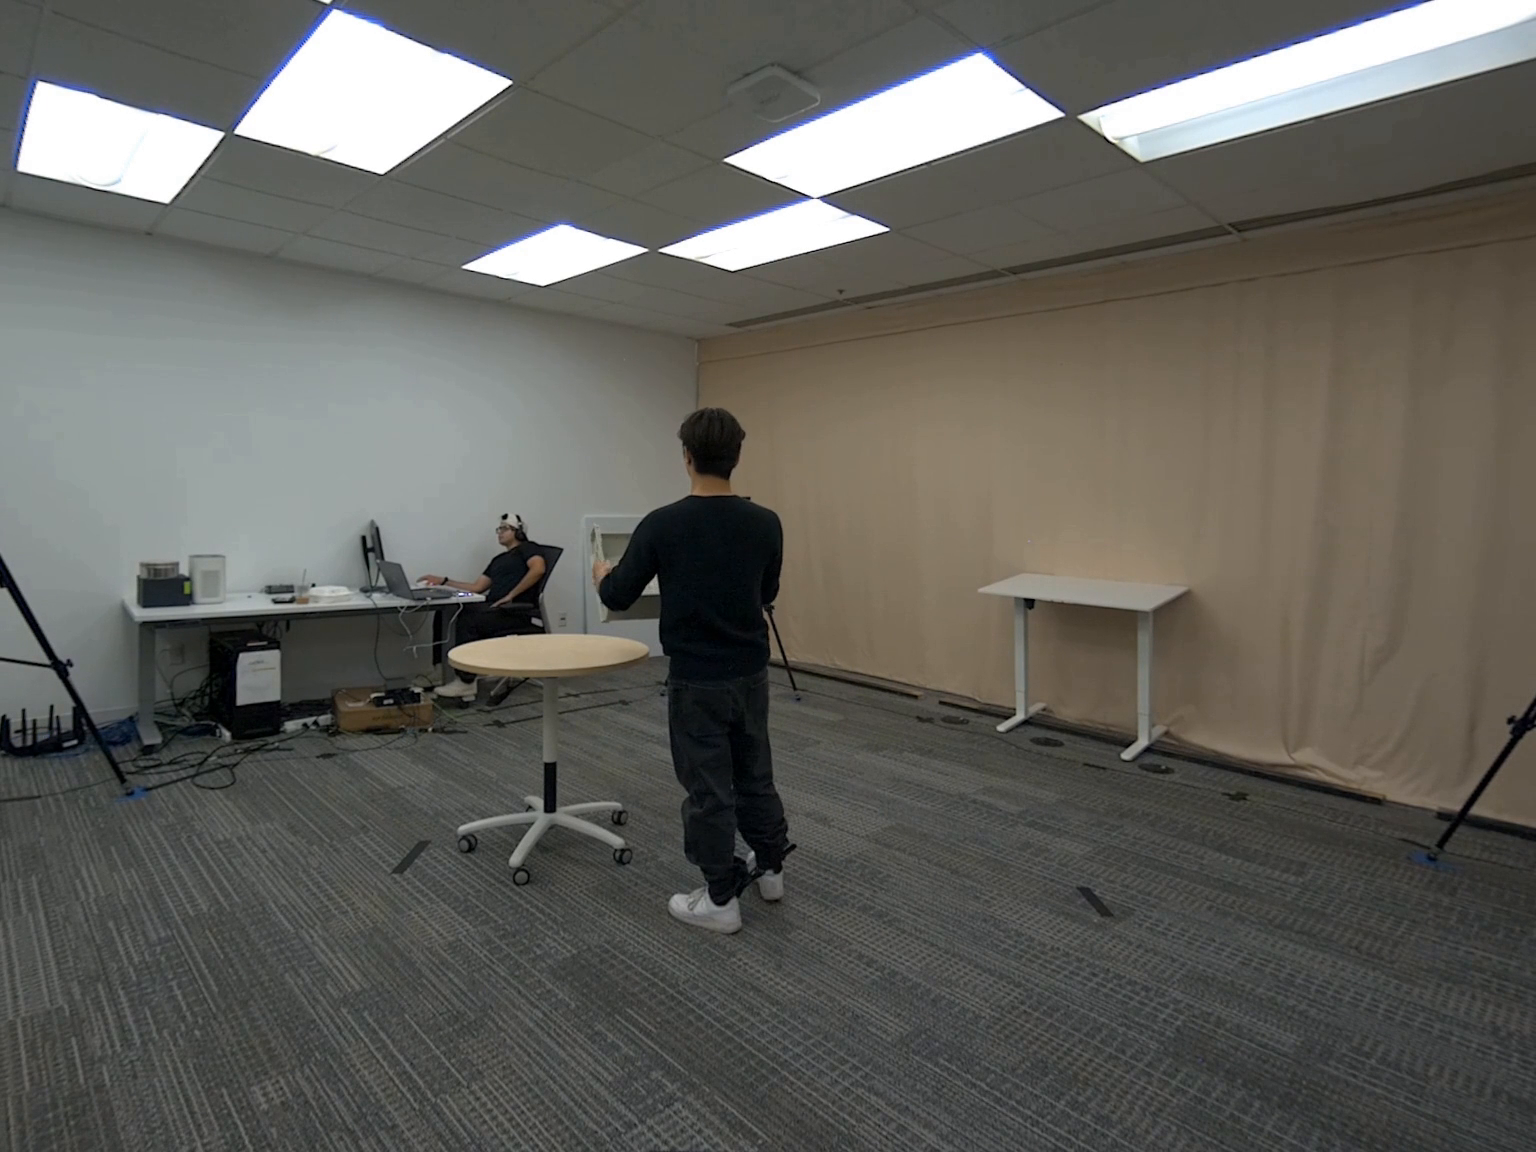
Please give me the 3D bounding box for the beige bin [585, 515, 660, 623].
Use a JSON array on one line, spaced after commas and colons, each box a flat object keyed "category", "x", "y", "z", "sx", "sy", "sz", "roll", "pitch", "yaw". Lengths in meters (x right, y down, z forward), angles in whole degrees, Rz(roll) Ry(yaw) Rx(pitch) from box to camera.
[{"category": "beige bin", "x": -0.439, "y": -0.023, "z": 3.156, "sx": 0.416, "sy": 0.387, "sz": 0.187, "roll": -1, "pitch": -38, "yaw": -21}]
